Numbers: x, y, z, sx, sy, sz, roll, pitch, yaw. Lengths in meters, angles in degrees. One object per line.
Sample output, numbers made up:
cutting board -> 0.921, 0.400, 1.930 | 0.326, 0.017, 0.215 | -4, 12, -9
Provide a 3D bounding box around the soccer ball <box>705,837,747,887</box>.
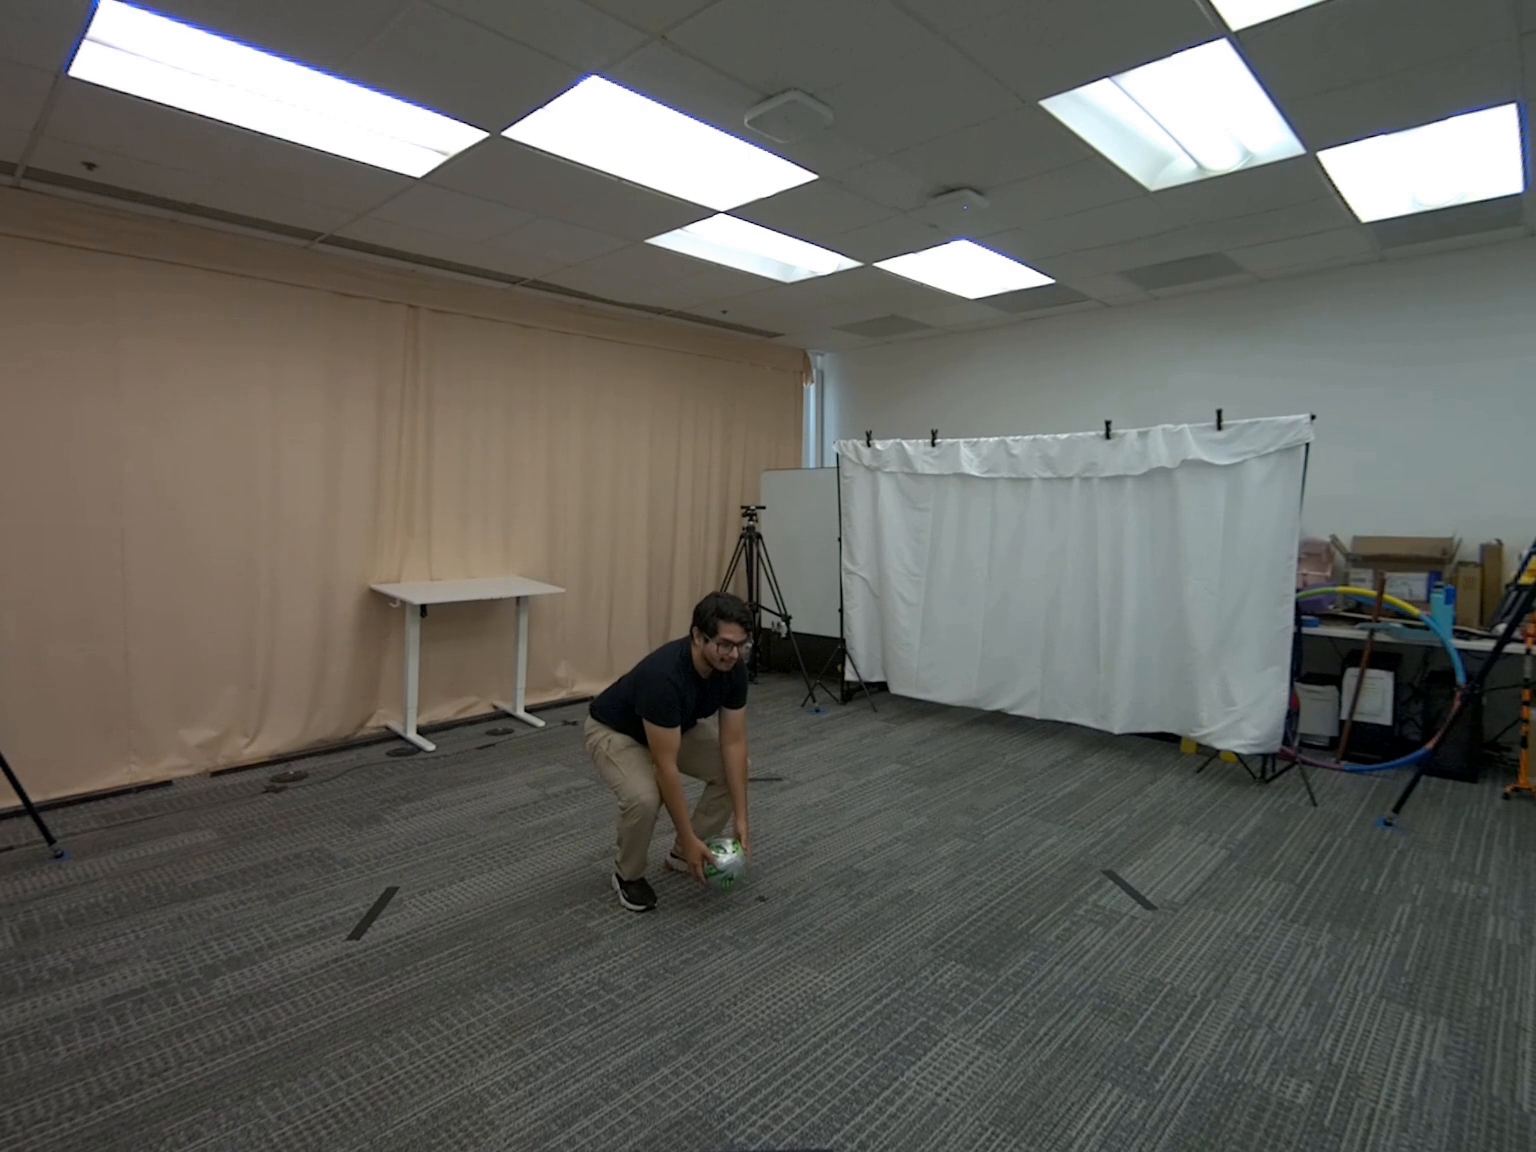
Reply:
soccer ball -> -0.165, 0.976, 2.881 | 0.187, 0.187, 0.188 | 0, 4, -2
